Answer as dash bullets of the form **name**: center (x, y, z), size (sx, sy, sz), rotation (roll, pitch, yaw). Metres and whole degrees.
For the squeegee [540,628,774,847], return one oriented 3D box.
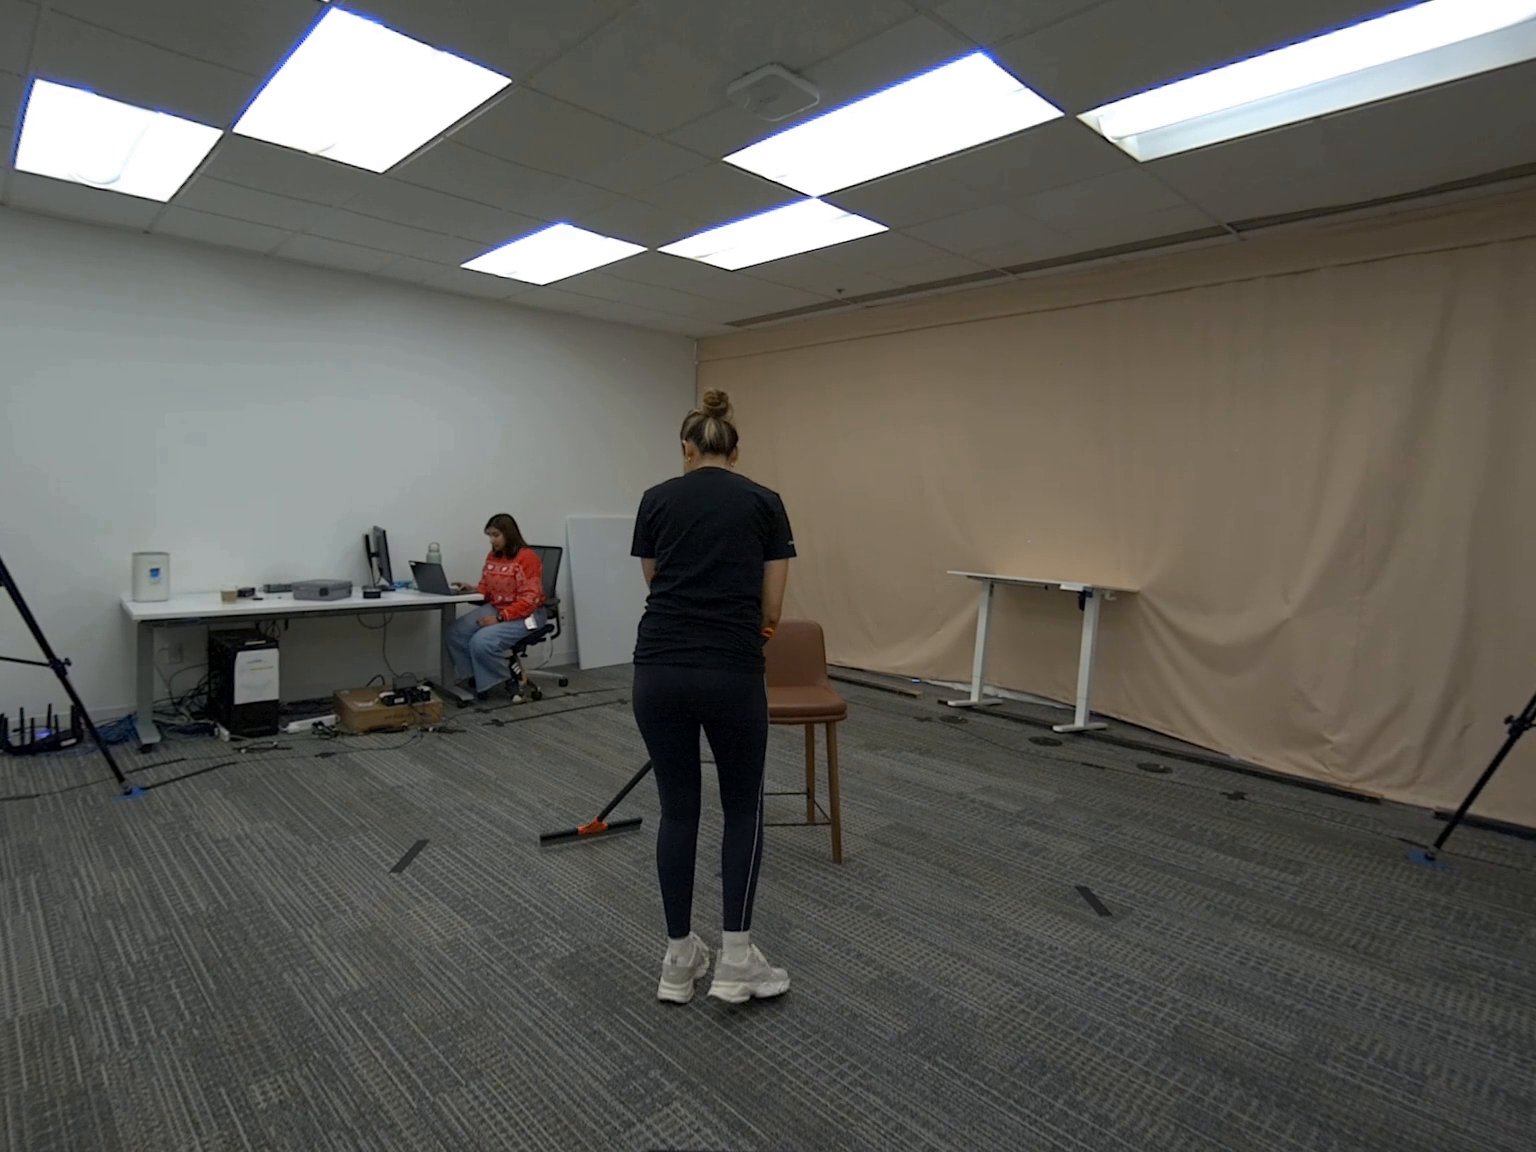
- **squeegee**: center (-0.370, 0.579, 2.880), size (0.428, 0.054, 1.531), rotation (-1, -36, -34)
